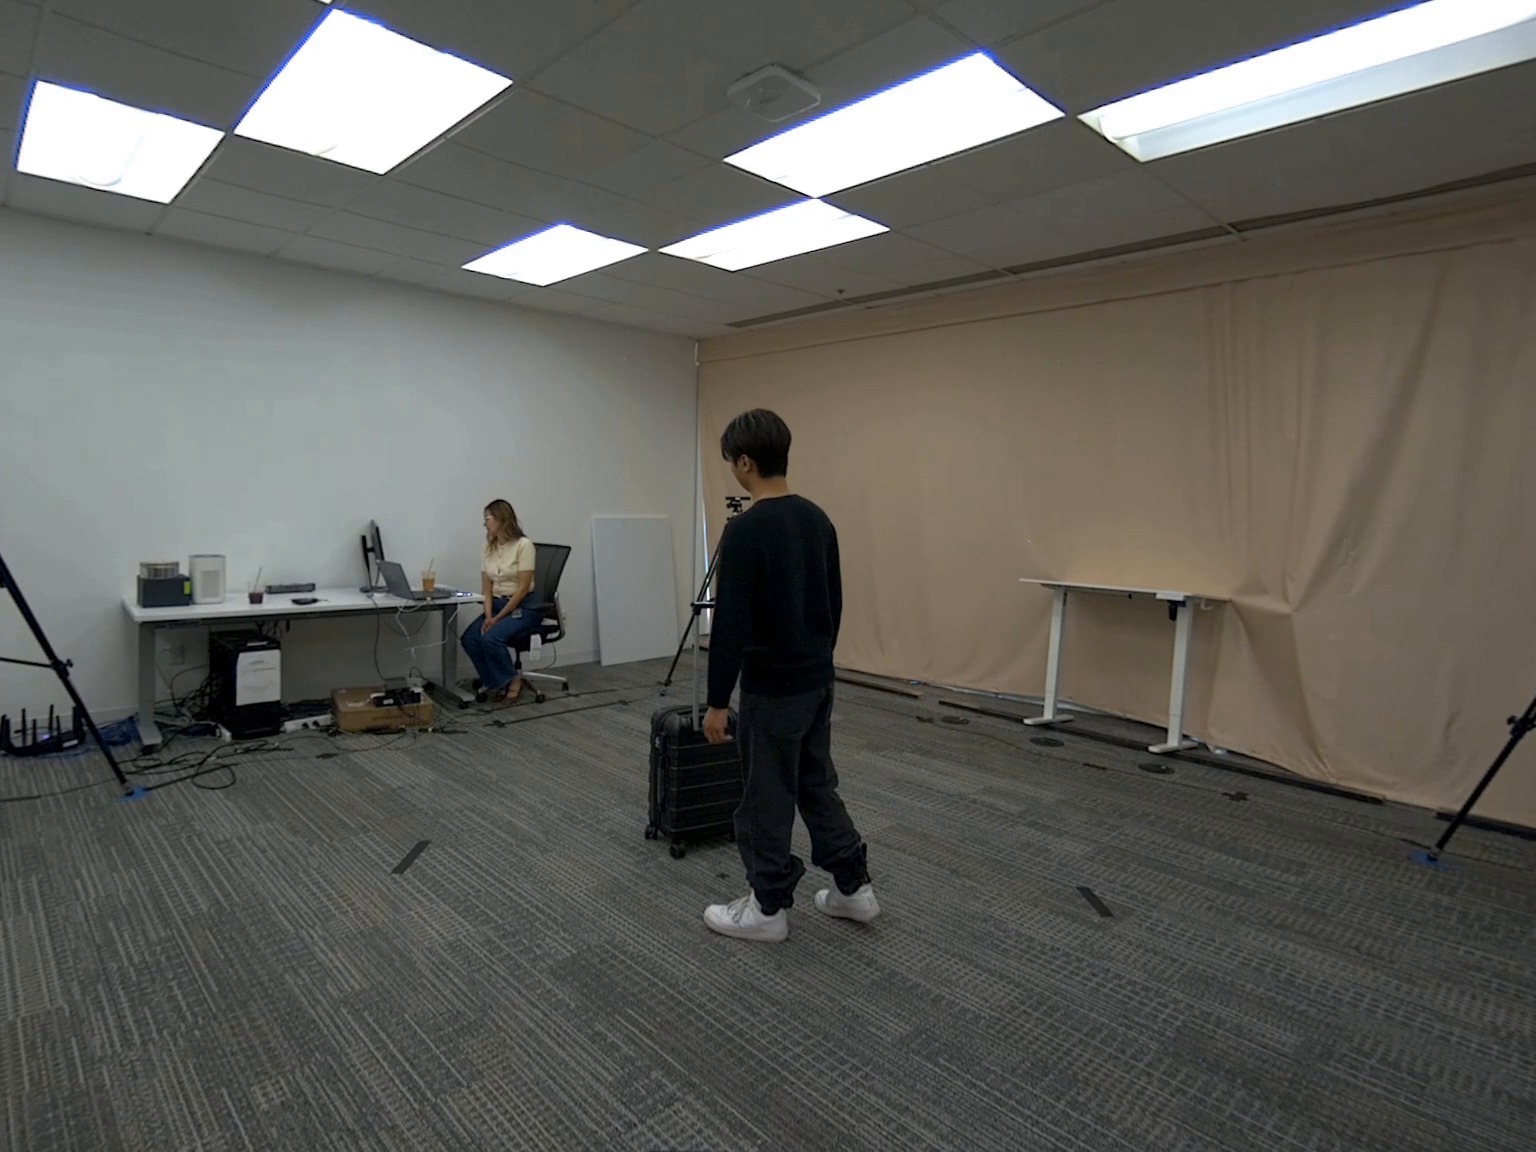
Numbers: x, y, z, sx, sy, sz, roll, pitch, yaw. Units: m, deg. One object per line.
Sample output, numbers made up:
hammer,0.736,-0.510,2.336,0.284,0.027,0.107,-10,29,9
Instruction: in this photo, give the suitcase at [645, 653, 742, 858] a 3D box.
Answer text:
suitcase,-0.296,0.597,3.419,0.376,0.978,0.262,1,1,-30
